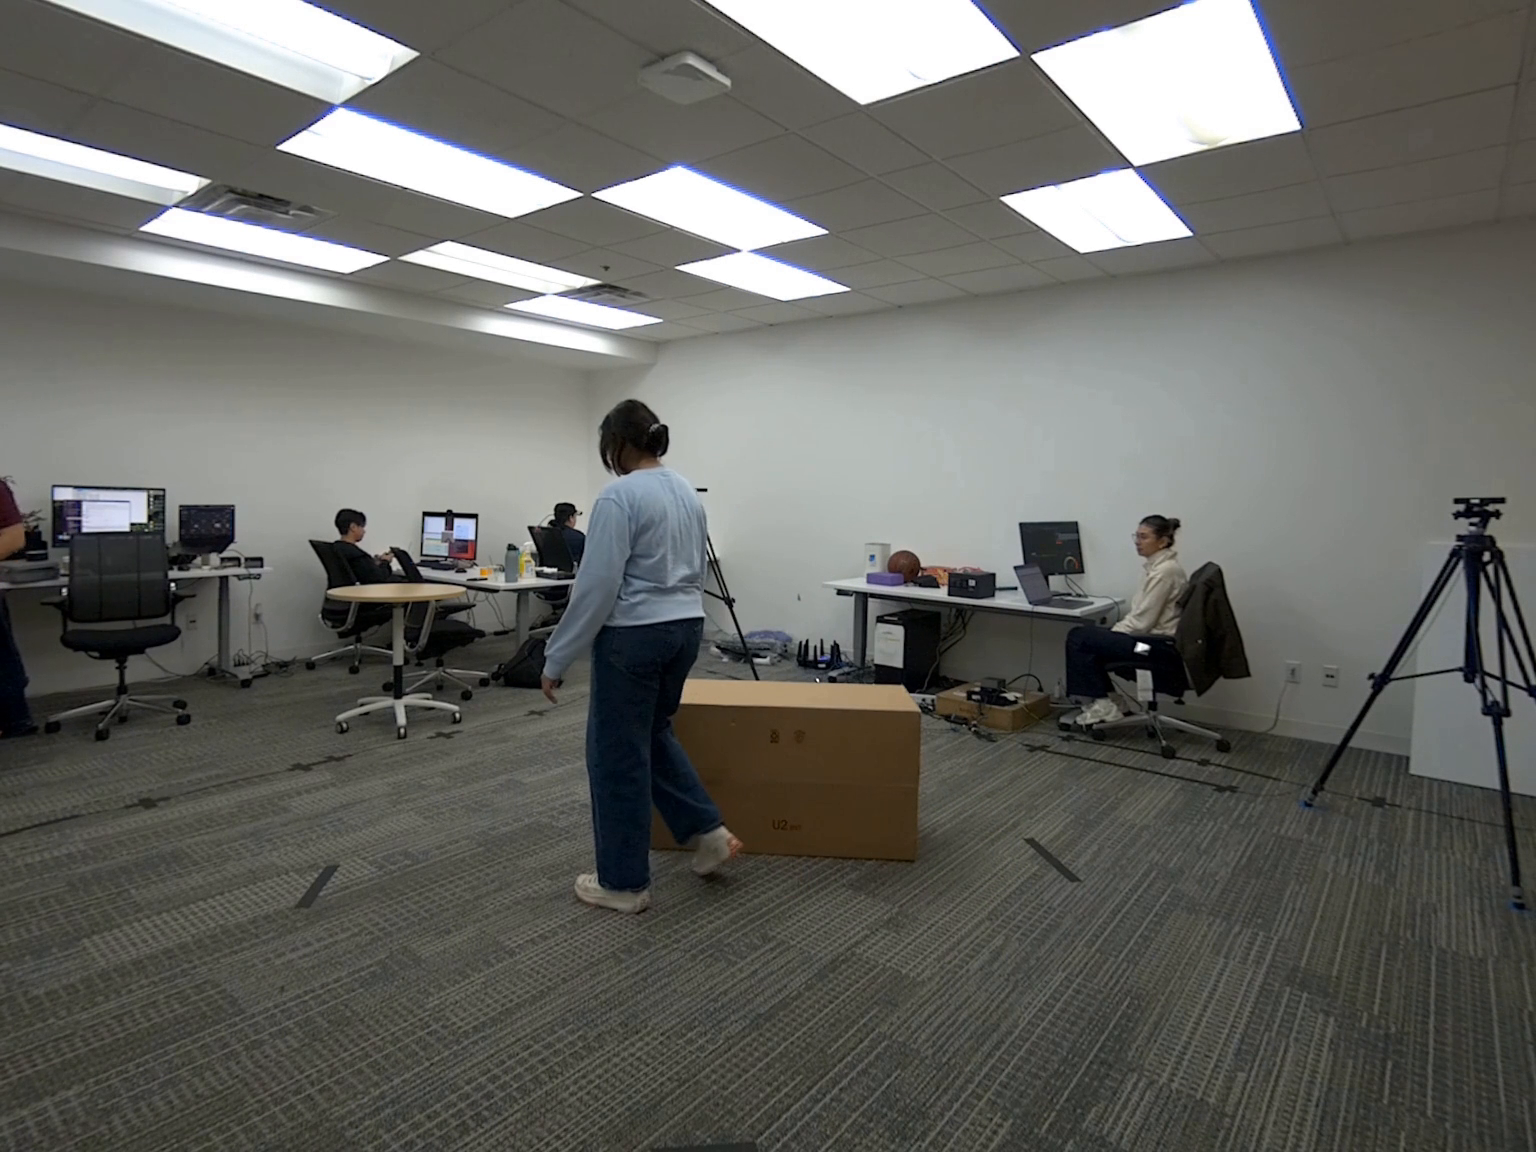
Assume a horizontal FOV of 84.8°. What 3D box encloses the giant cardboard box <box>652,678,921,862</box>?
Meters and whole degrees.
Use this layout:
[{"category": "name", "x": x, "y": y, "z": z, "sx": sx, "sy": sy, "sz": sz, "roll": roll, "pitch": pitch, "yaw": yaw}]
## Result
[{"category": "giant cardboard box", "x": 0.057, "y": 0.749, "z": 3.439, "sx": 1.030, "sy": 0.576, "sz": 0.426, "roll": 1, "pitch": 3, "yaw": 3}]
